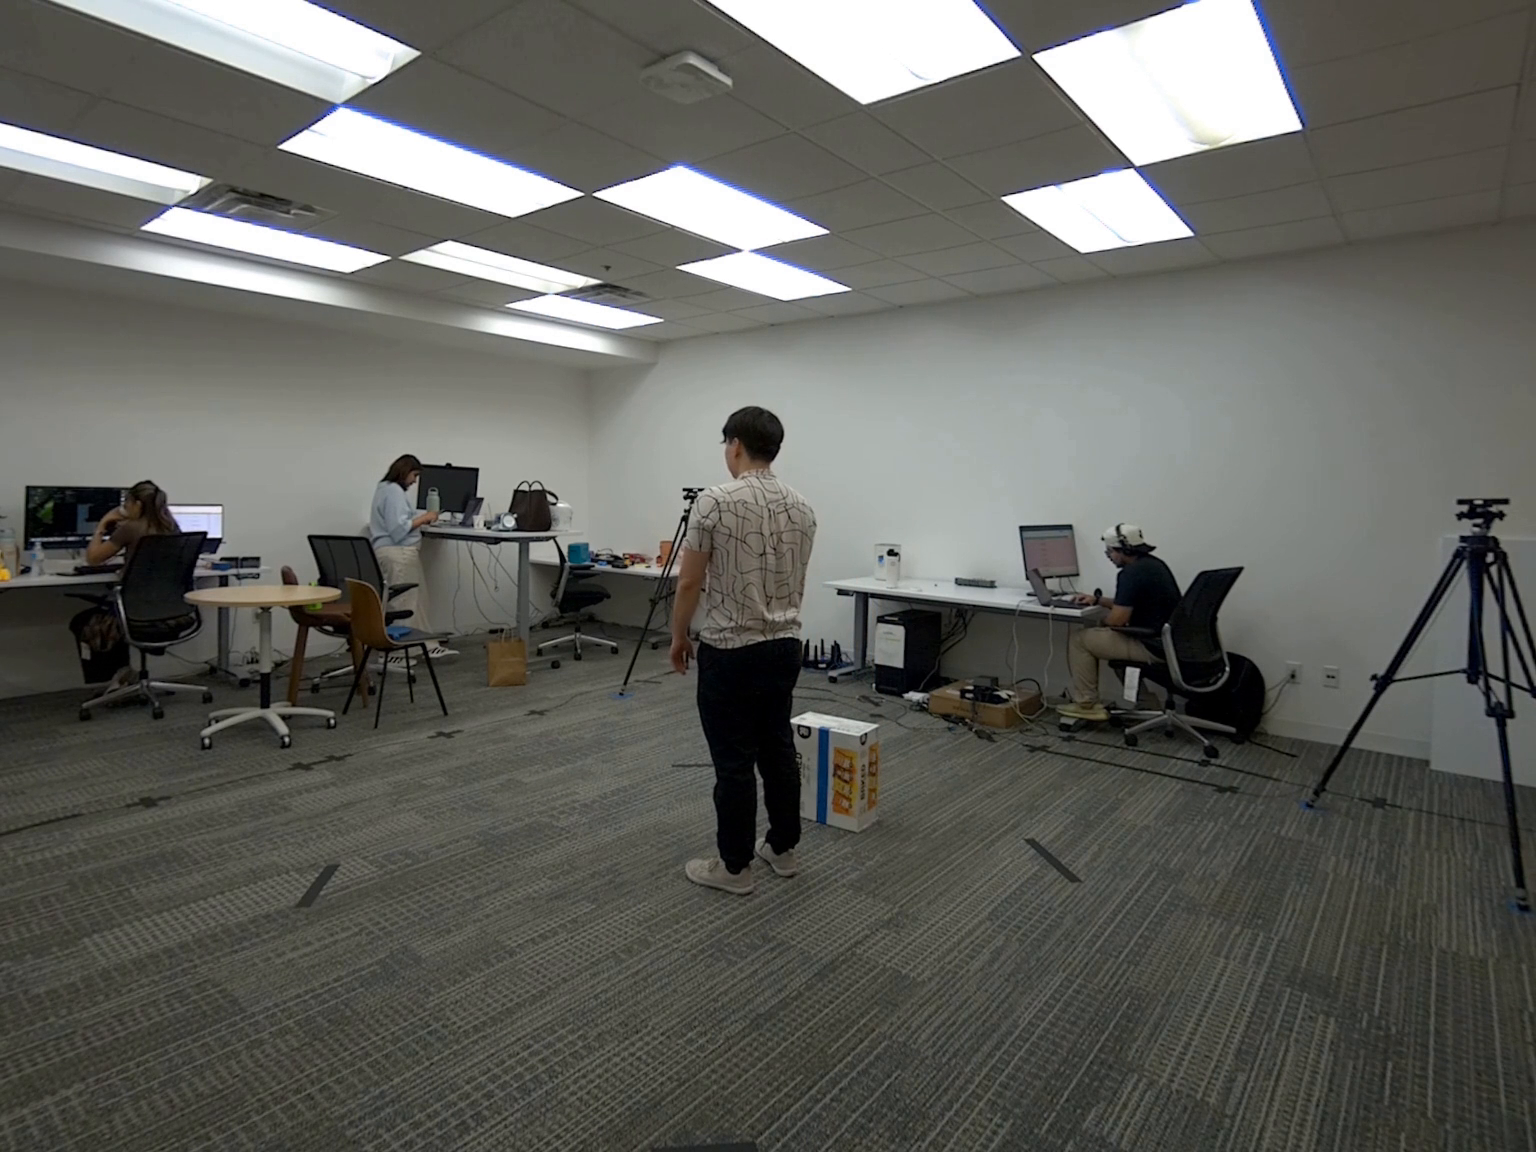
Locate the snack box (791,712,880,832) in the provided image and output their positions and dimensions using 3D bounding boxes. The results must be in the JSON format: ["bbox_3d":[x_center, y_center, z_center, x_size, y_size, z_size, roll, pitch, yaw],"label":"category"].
[{"bbox_3d":[0.270,0.829,3.638,0.351,0.404,0.200,4,5,34],"label":"snack box"}]
